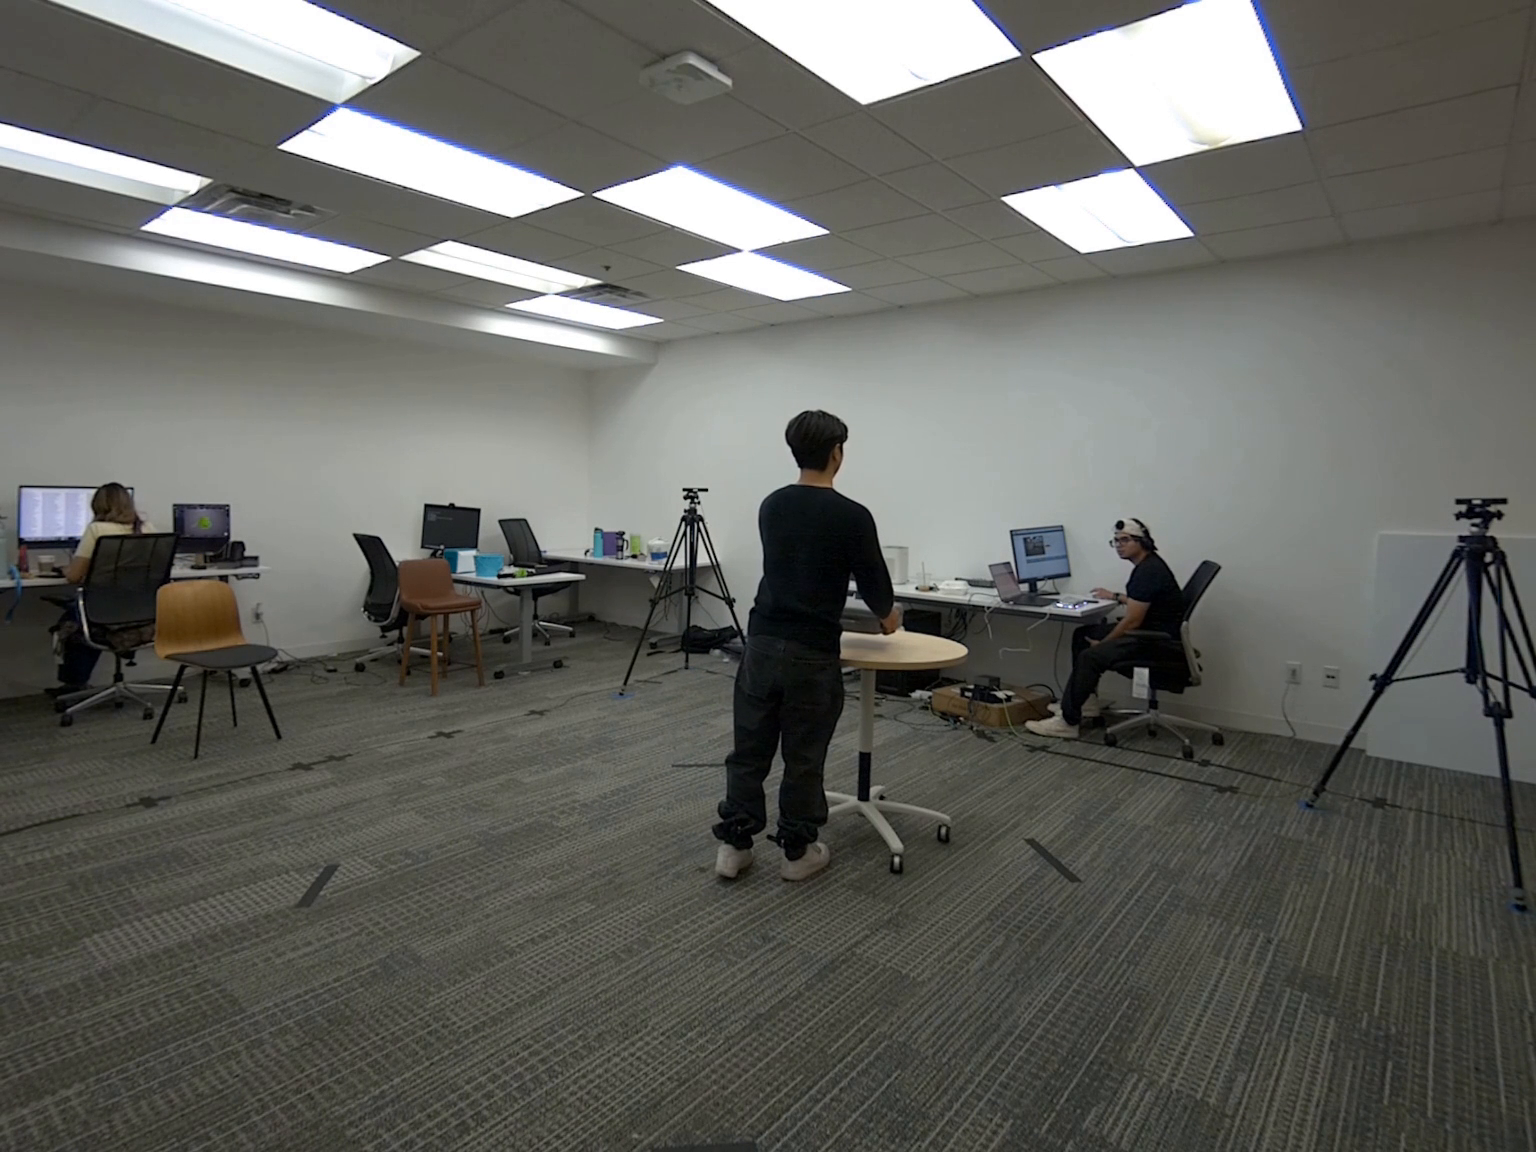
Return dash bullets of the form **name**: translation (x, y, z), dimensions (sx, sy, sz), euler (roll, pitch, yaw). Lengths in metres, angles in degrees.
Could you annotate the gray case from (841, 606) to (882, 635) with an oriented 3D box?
- **gray case**: translation (0.378, 0.160, 3.419), dimensions (0.265, 0.104, 0.253), euler (5, 7, 35)
